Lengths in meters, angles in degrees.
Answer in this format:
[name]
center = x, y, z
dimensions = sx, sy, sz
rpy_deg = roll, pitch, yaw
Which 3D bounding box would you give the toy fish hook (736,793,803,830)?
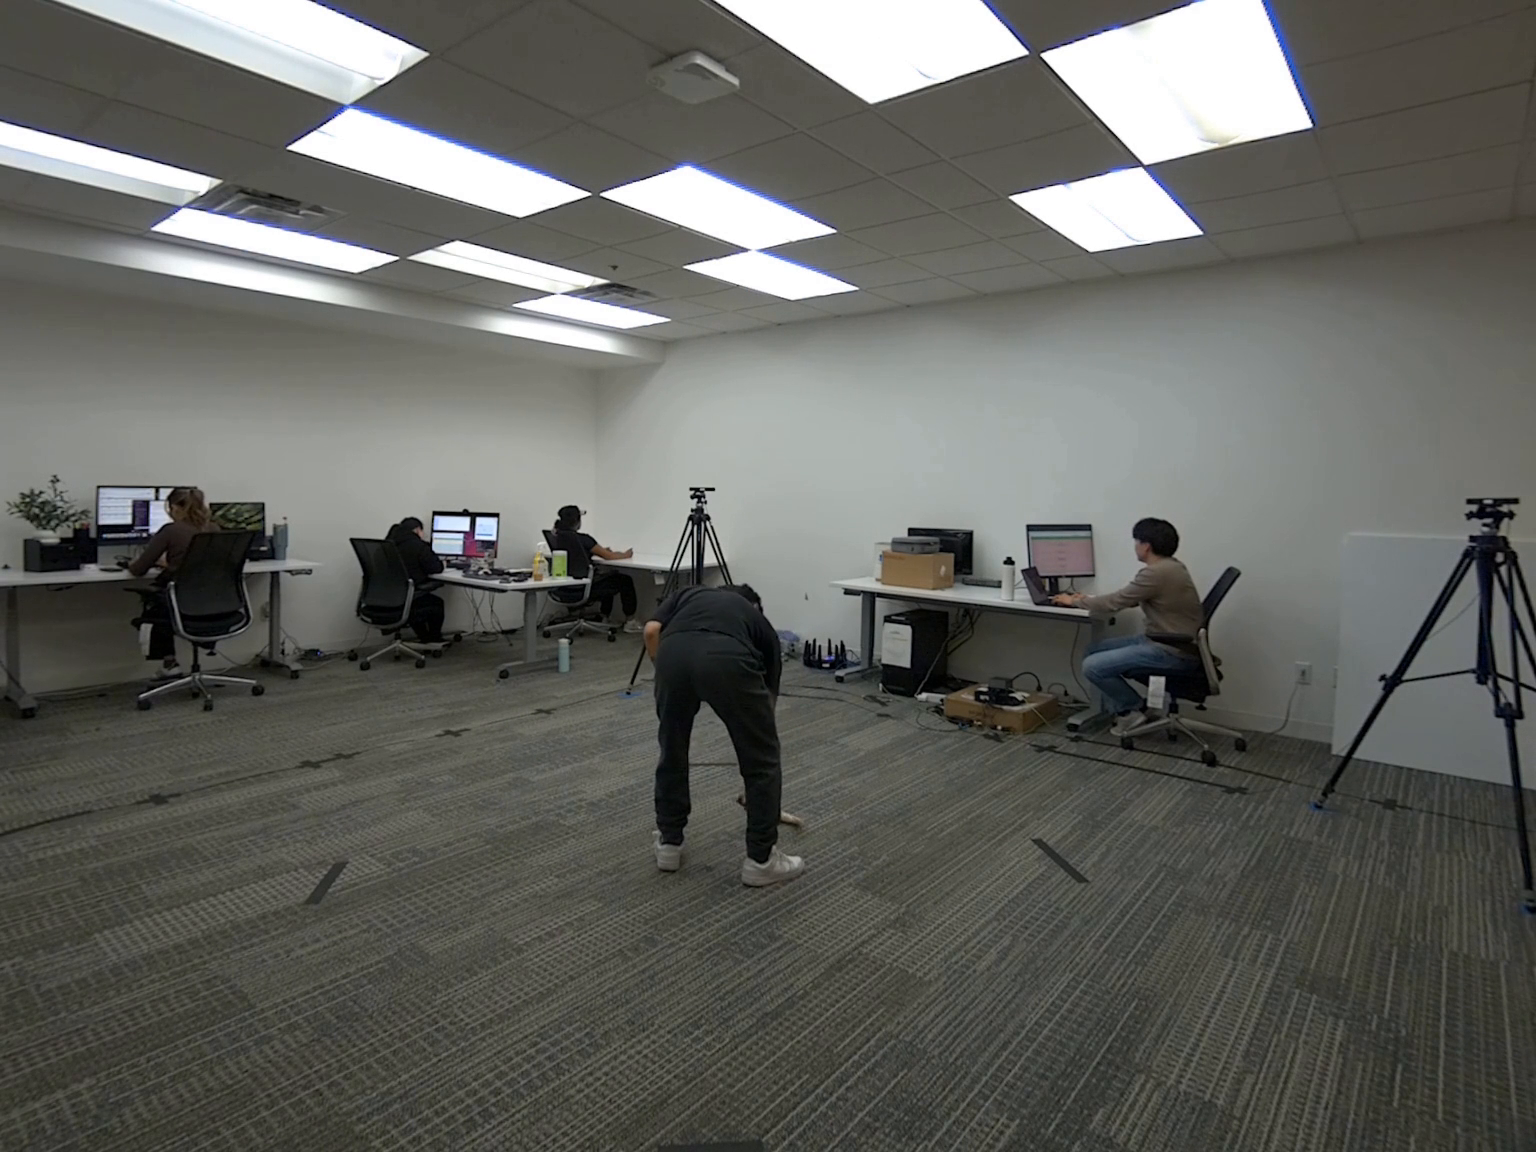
[toy fish hook]
center = -0.001, 0.922, 3.376
dimensions = 0.230, 0.049, 0.488
rpy_deg = 8, -17, 22
